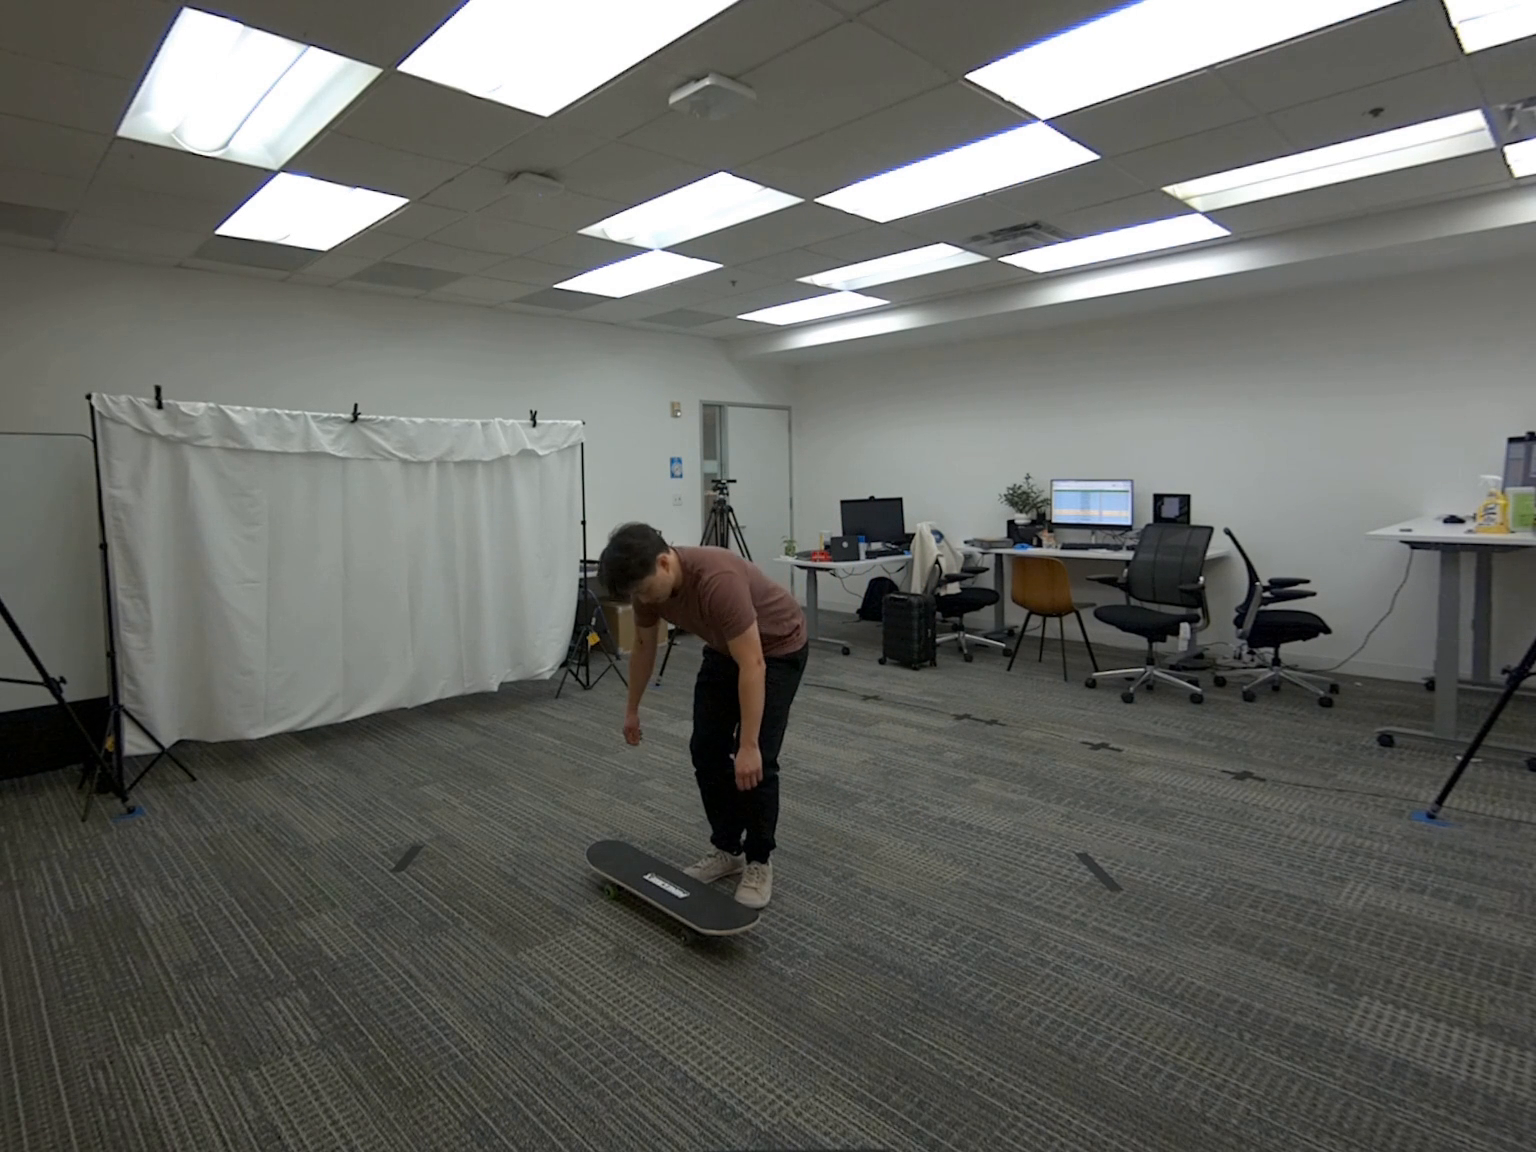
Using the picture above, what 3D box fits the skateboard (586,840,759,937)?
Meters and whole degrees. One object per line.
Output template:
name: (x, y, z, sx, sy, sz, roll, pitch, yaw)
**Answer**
skateboard: (-0.330, 1.039, 2.769, 0.188, 0.110, 0.810, -8, 10, -43)
